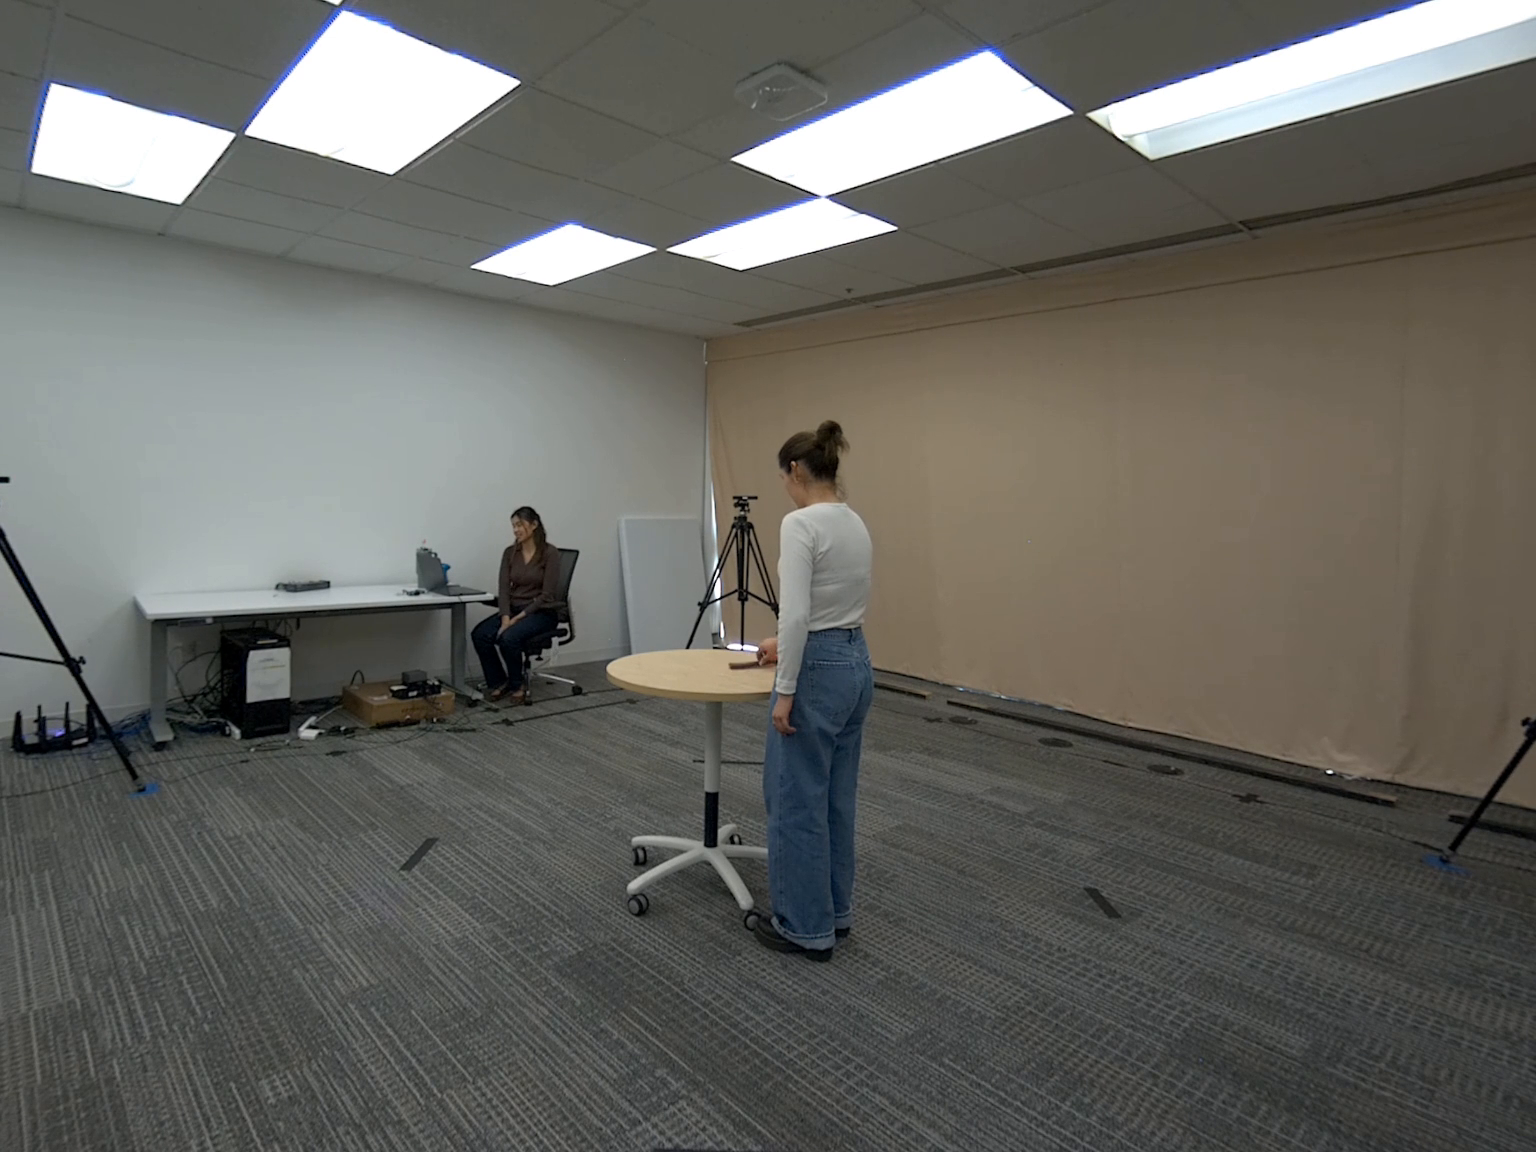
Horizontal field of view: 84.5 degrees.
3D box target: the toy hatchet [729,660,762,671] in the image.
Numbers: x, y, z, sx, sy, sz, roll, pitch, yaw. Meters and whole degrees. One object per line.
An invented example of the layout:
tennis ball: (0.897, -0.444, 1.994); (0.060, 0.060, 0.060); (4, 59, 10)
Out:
toy hatchet: (-0.043, 0.316, 3.078); (0.265, 0.029, 0.134); (-3, 8, -24)
